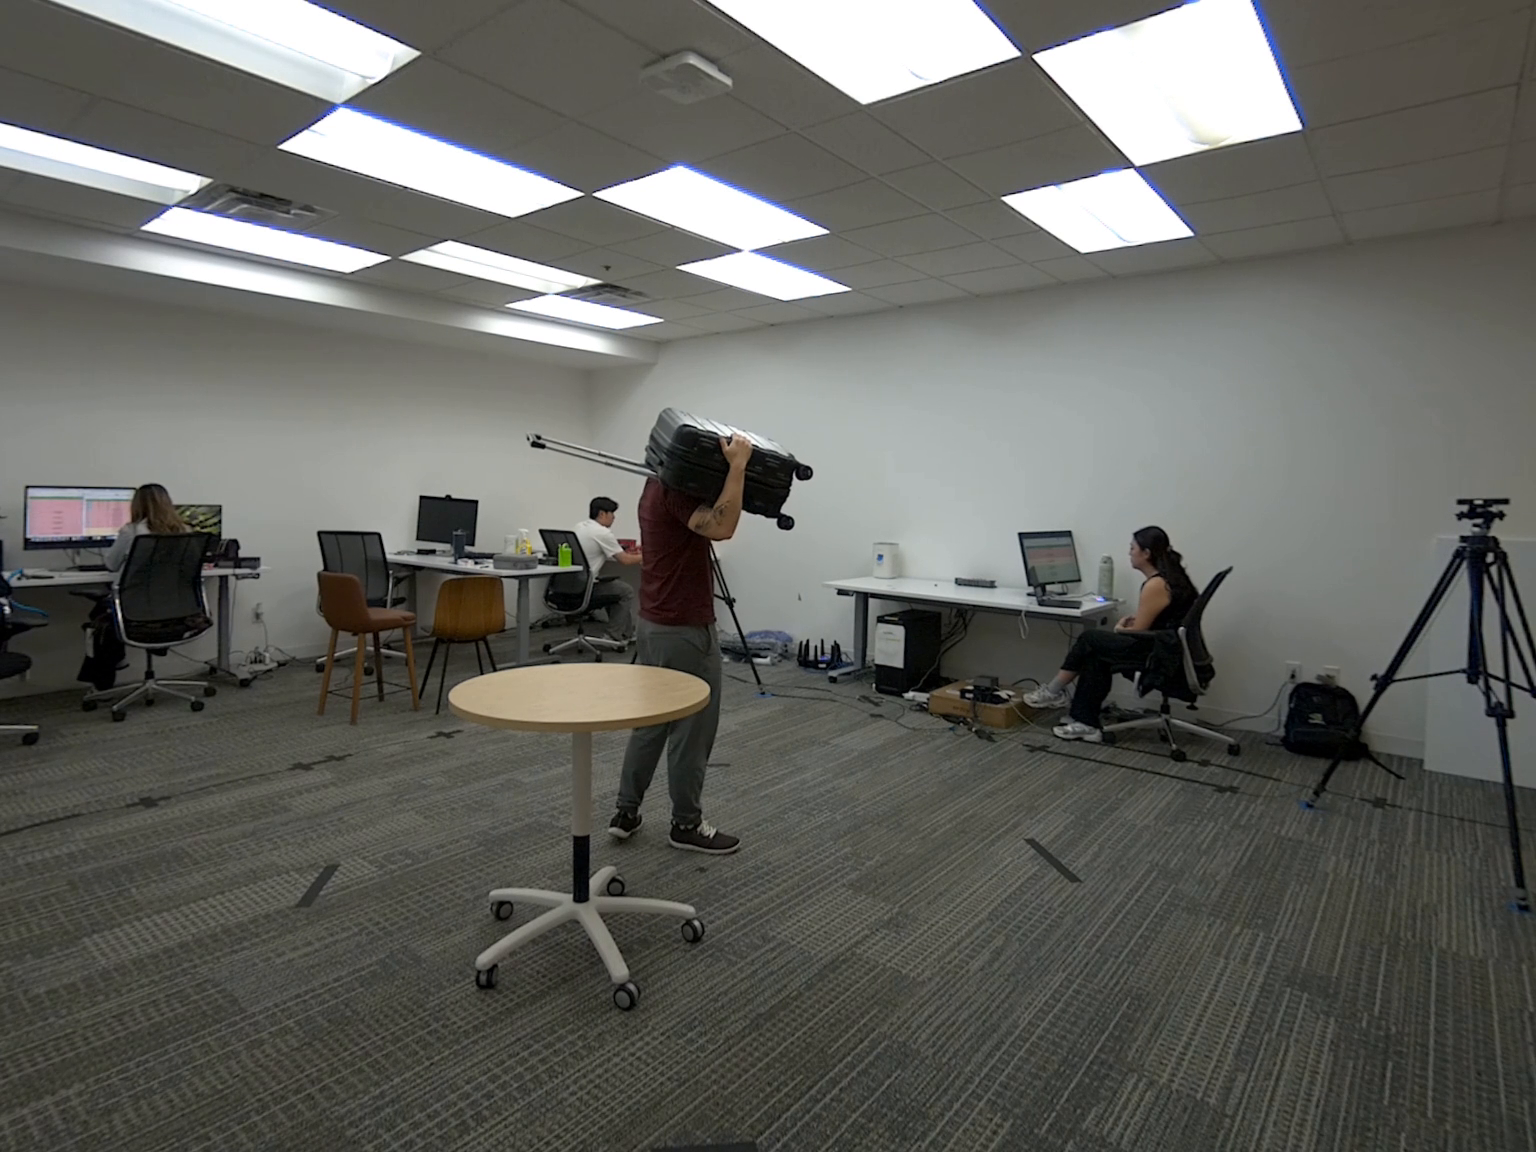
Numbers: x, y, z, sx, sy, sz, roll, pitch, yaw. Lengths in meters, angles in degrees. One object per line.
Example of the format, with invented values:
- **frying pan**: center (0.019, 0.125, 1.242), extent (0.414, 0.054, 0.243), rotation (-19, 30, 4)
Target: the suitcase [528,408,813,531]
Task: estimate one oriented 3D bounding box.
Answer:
- **suitcase**: center (-0.350, -0.460, 3.062), extent (0.952, 0.255, 0.398), rotation (14, 17, -24)
